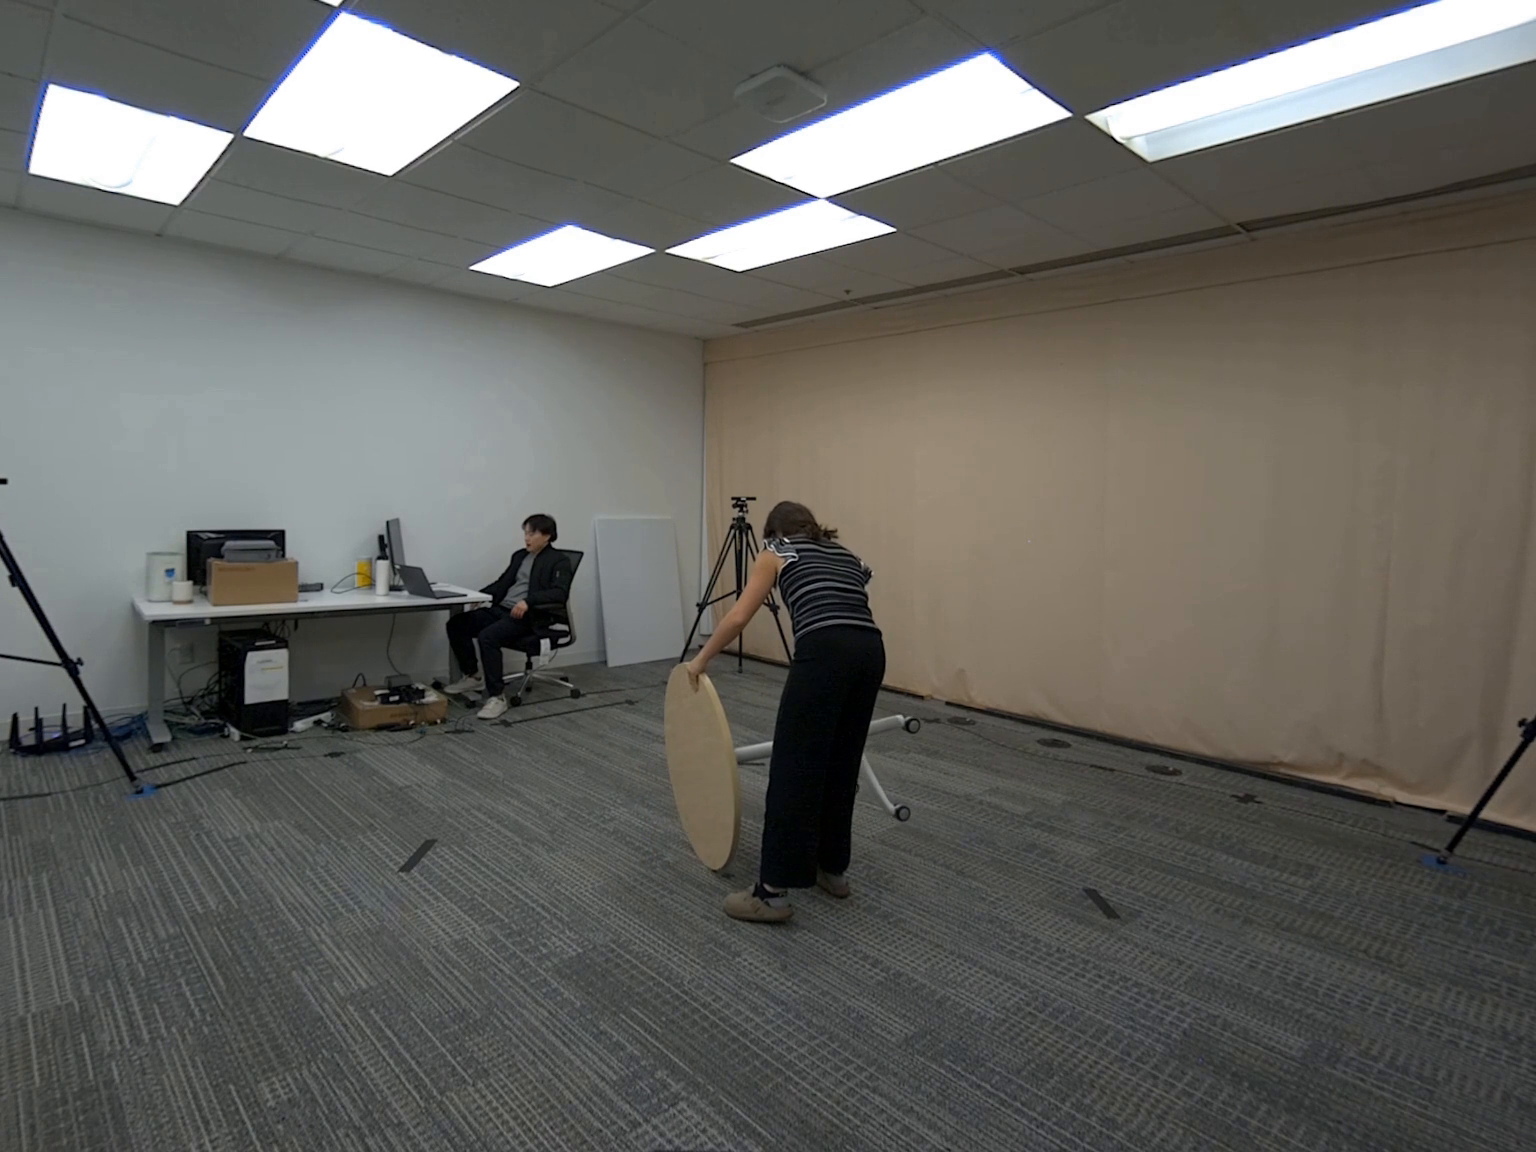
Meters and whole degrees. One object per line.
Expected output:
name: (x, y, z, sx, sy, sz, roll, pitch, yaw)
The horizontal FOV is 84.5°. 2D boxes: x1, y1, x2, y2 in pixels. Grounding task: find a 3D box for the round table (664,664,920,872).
round table: (0.076, 0.678, 3.345, 0.782, 0.760, 0.779, -6, 7, -23)
